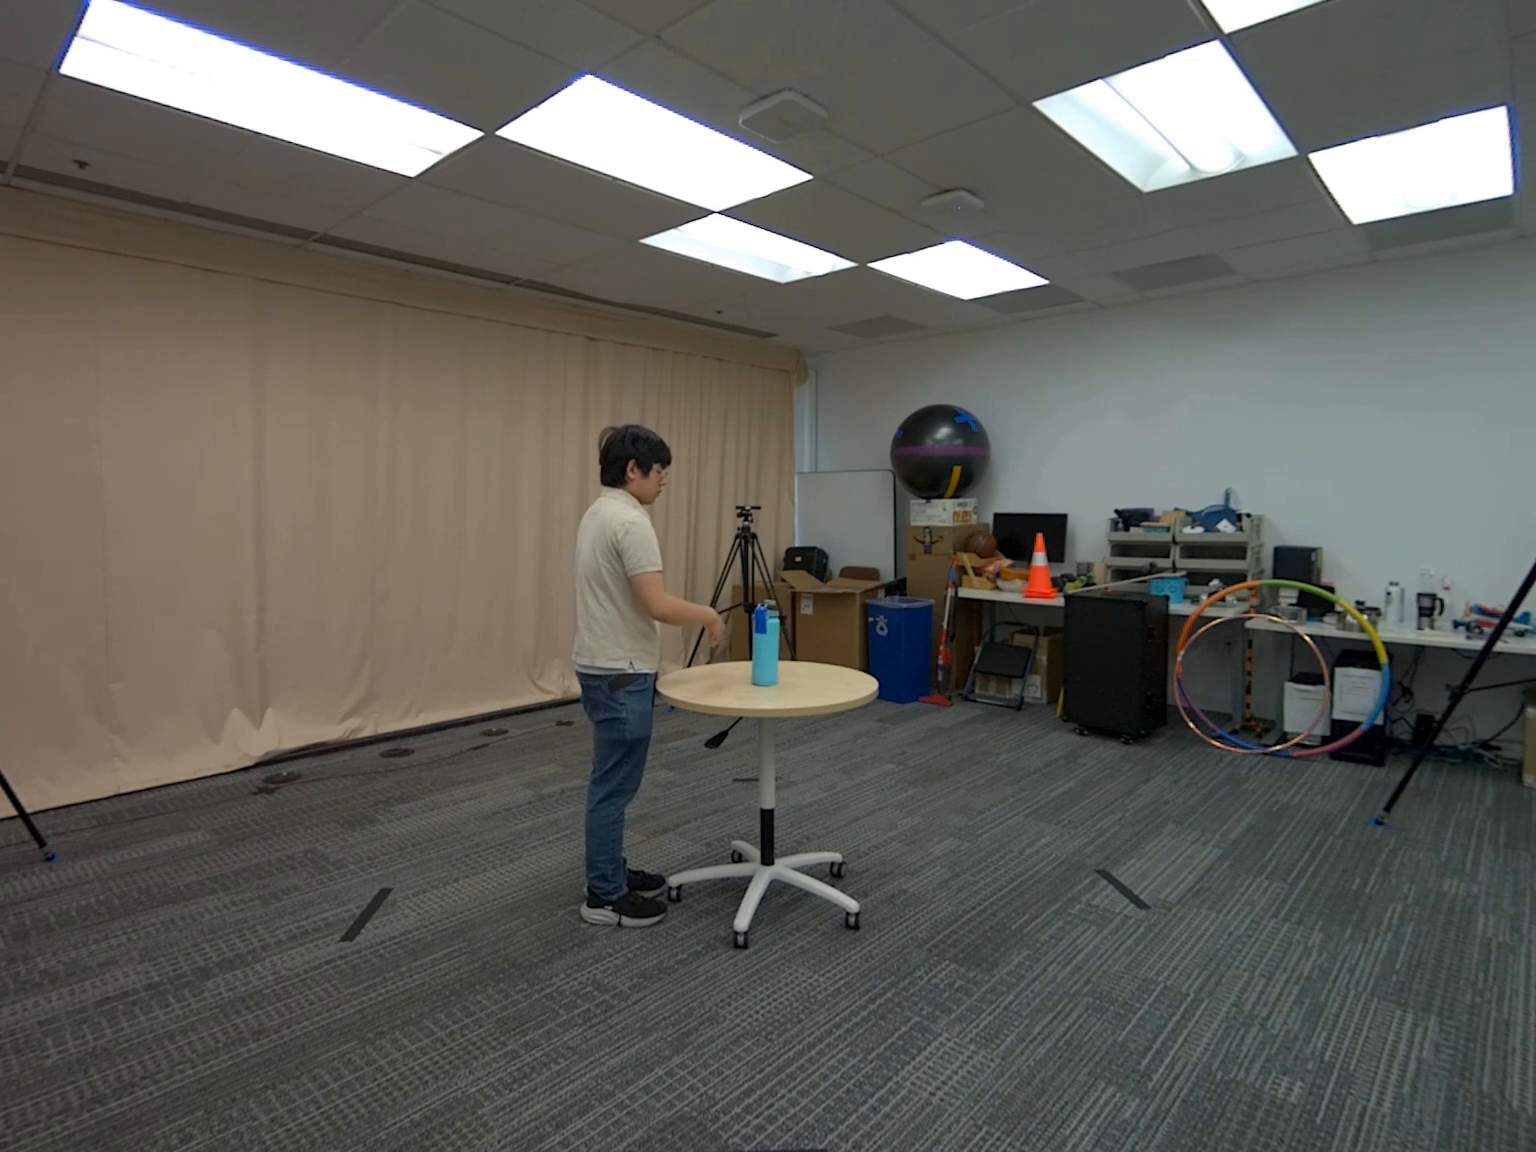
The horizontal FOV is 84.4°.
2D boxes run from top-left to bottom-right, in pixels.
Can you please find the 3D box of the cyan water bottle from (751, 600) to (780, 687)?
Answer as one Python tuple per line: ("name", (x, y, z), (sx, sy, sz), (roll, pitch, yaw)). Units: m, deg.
("cyan water bottle", (-0.007, 0.230, 2.876), (0.092, 0.283, 0.092), (0, 3, -2))
